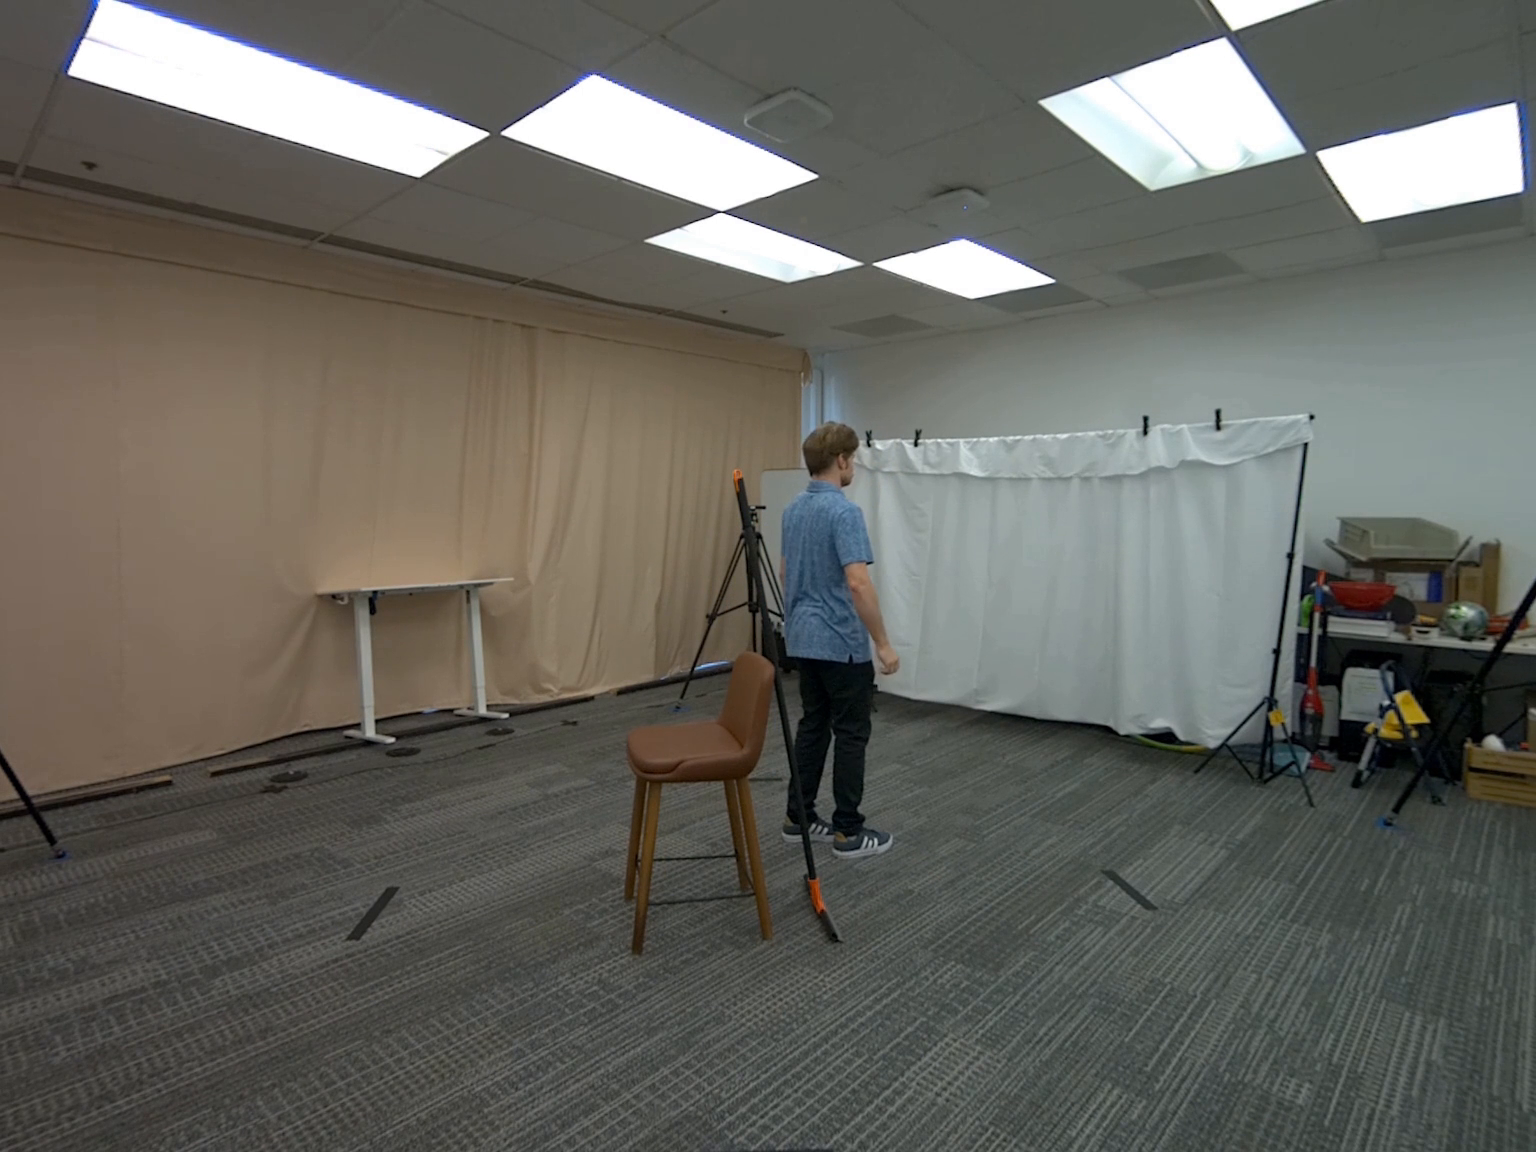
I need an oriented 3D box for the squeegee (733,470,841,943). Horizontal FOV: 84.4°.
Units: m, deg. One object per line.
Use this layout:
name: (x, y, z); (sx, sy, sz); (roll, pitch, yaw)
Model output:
squeegee: (0.059, 0.393, 2.858); (0.053, 1.534, 0.440); (-9, 3, -6)
